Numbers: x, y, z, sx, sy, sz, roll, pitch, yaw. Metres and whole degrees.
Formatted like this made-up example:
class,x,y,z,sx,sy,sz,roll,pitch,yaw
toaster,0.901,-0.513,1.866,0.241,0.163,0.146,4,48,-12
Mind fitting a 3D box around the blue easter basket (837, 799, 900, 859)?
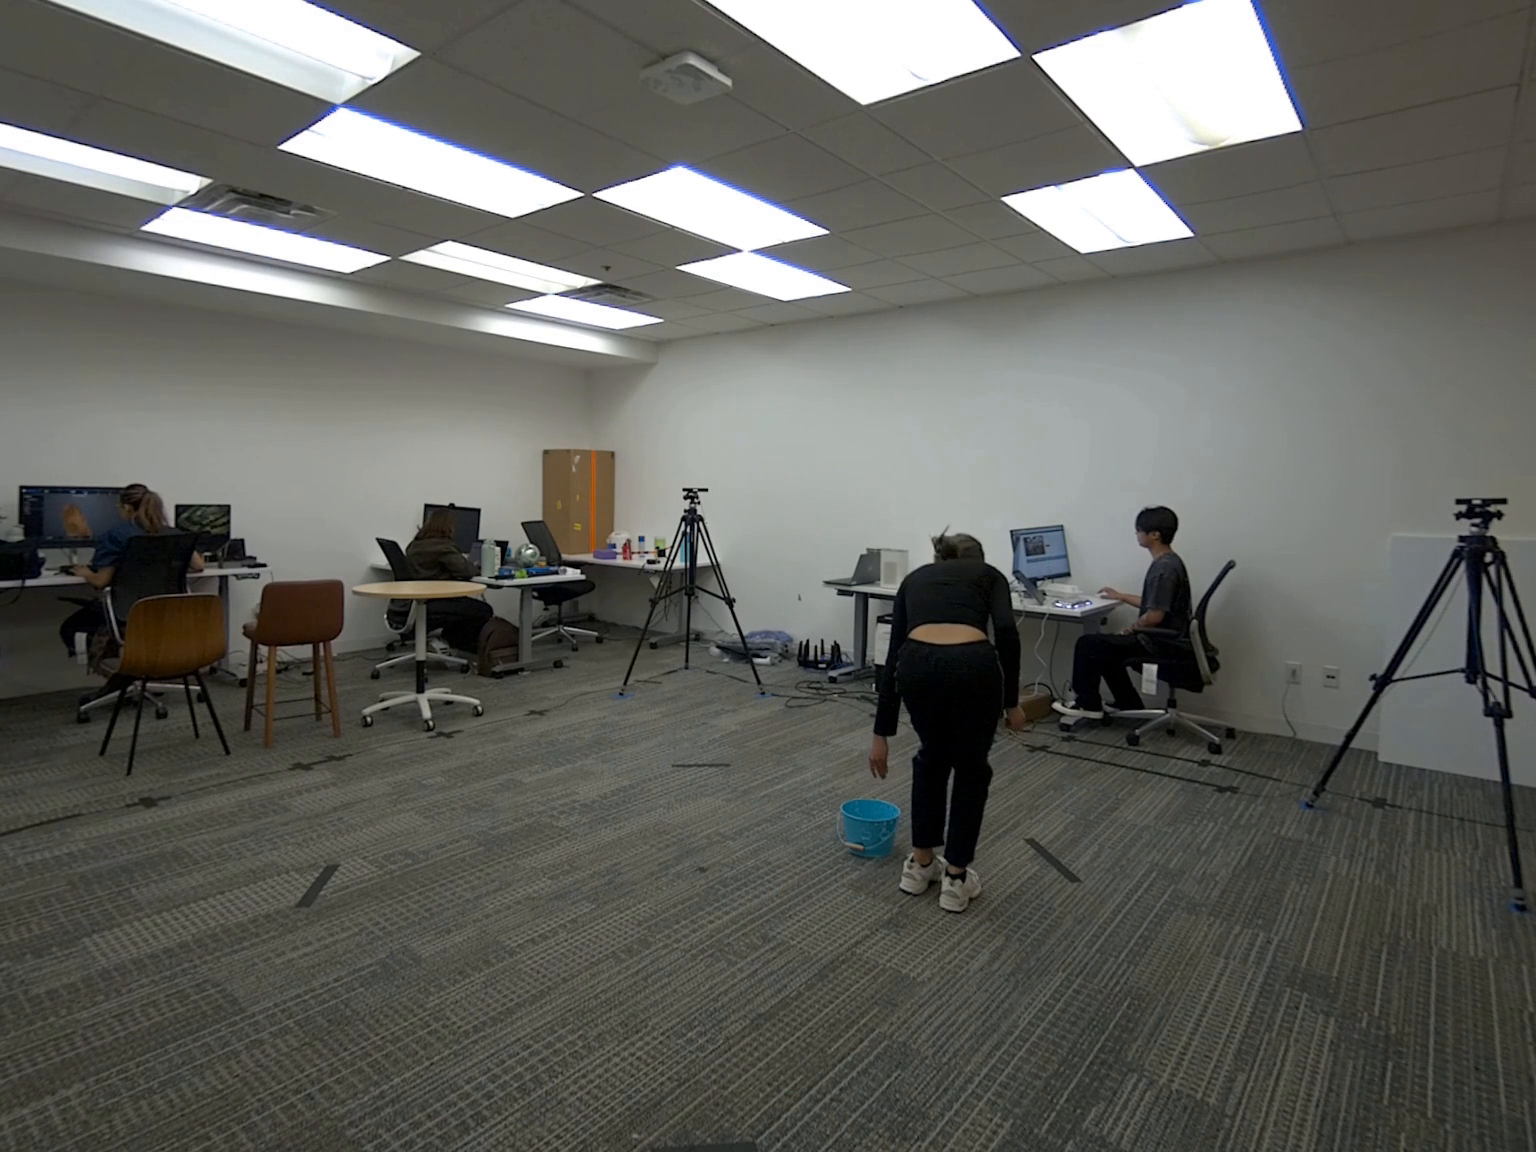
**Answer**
class,x,y,z,sx,sy,sz,roll,pitch,yaw
blue easter basket,0.387,0.985,3.335,0.243,0.155,0.245,0,5,-2
